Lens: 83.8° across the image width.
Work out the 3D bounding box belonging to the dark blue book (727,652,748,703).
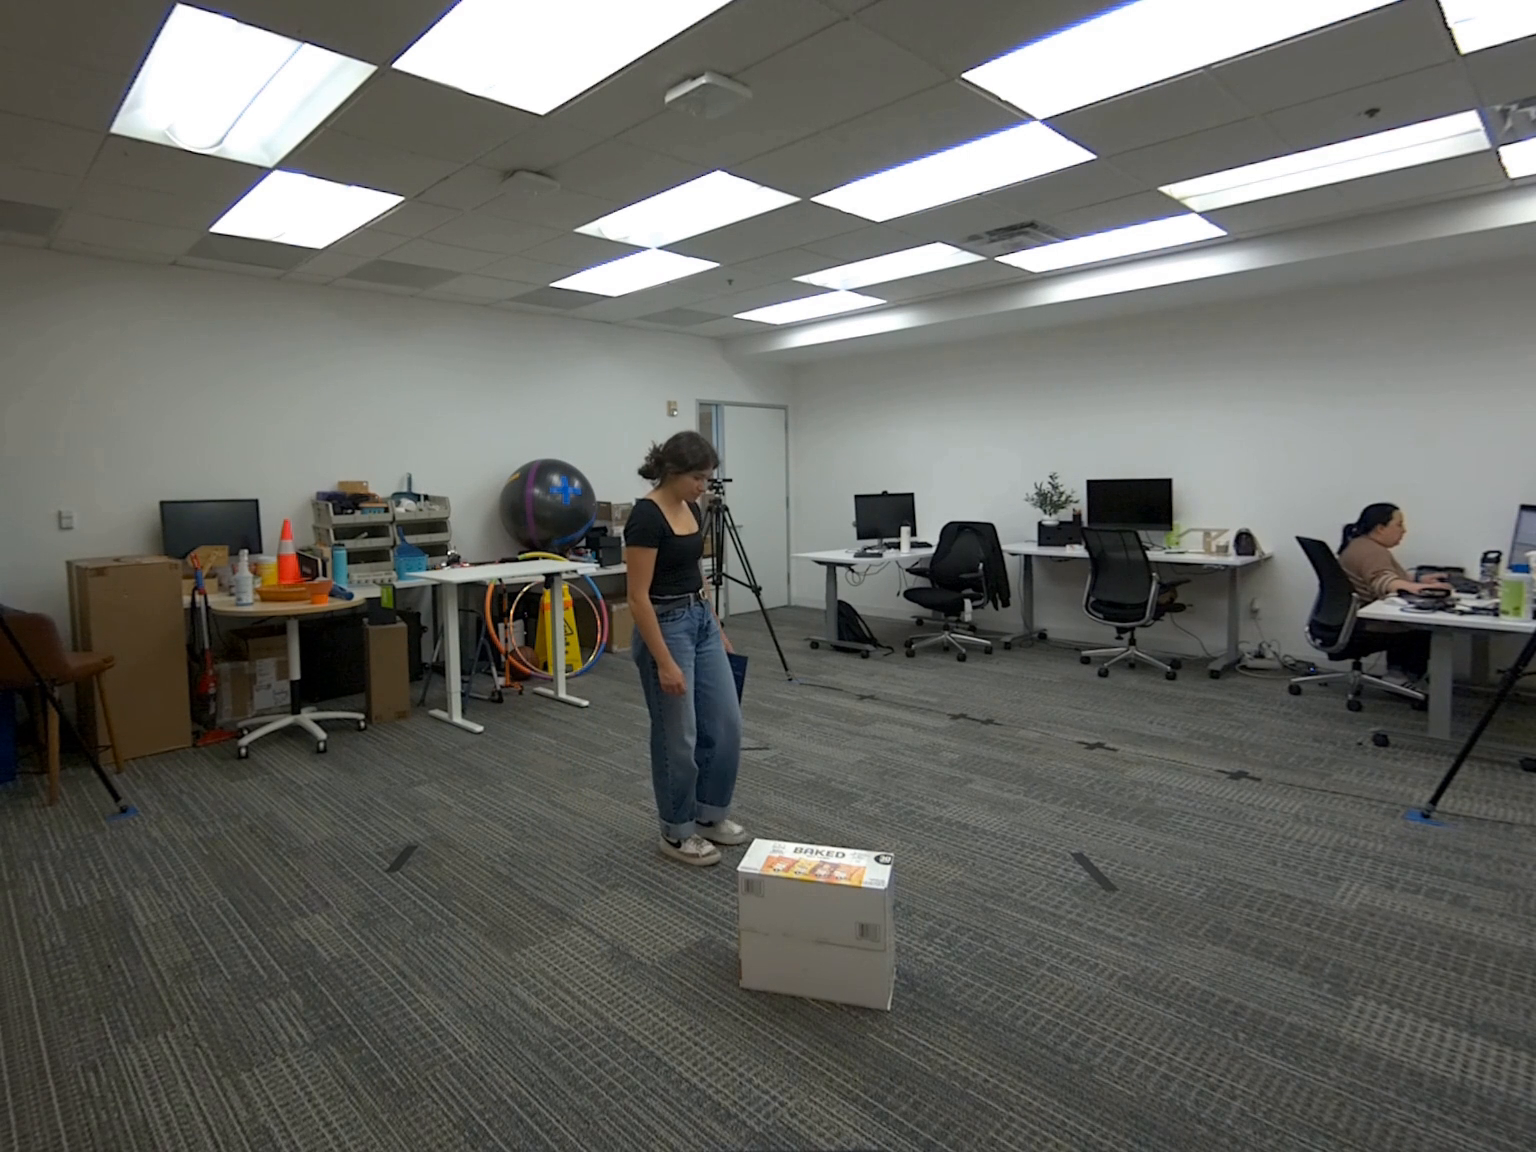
[{"bbox_3d":[-0.173,0.422,3.331,0.165,0.245,0.044,6,-2,9],"label":"dark blue book"}]
